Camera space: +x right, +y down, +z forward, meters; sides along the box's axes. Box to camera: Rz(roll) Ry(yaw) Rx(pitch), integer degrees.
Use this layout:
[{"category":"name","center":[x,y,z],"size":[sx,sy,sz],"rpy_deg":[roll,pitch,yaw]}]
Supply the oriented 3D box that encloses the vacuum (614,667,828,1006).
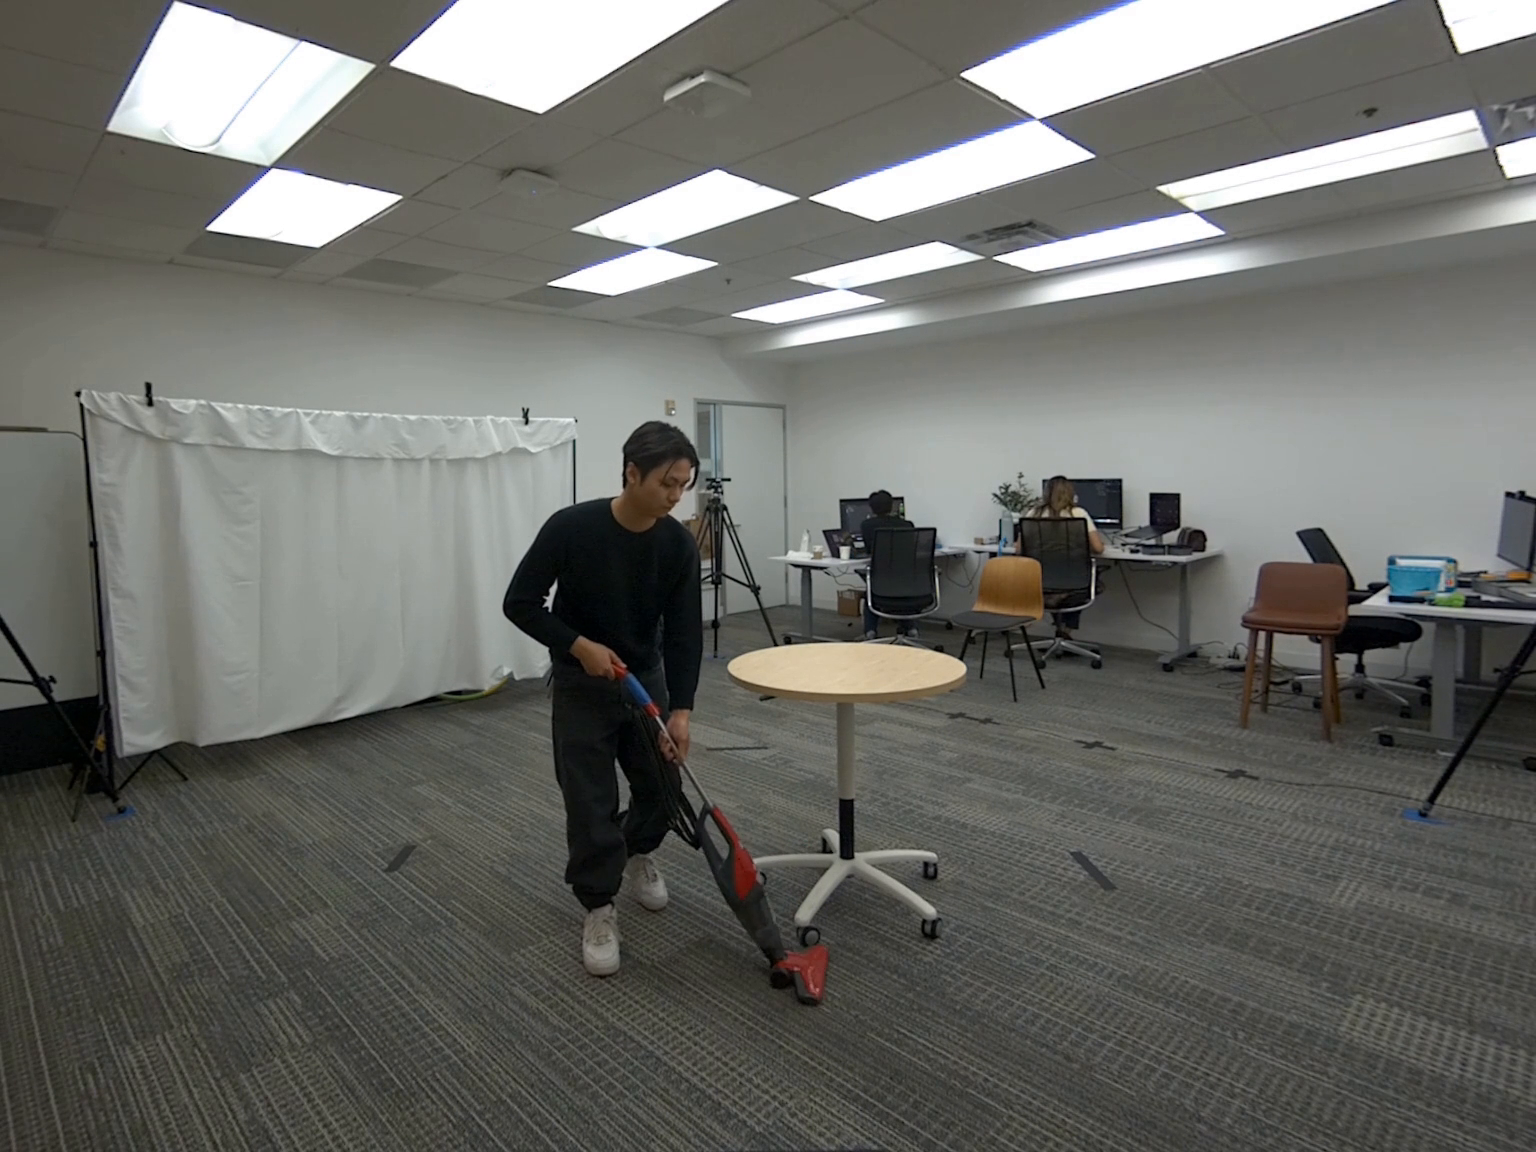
[{"category":"vacuum","center":[-0.182,0.666,2.426],"size":[0.145,1.054,0.250],"rpy_deg":[-32,-4,16]}]
